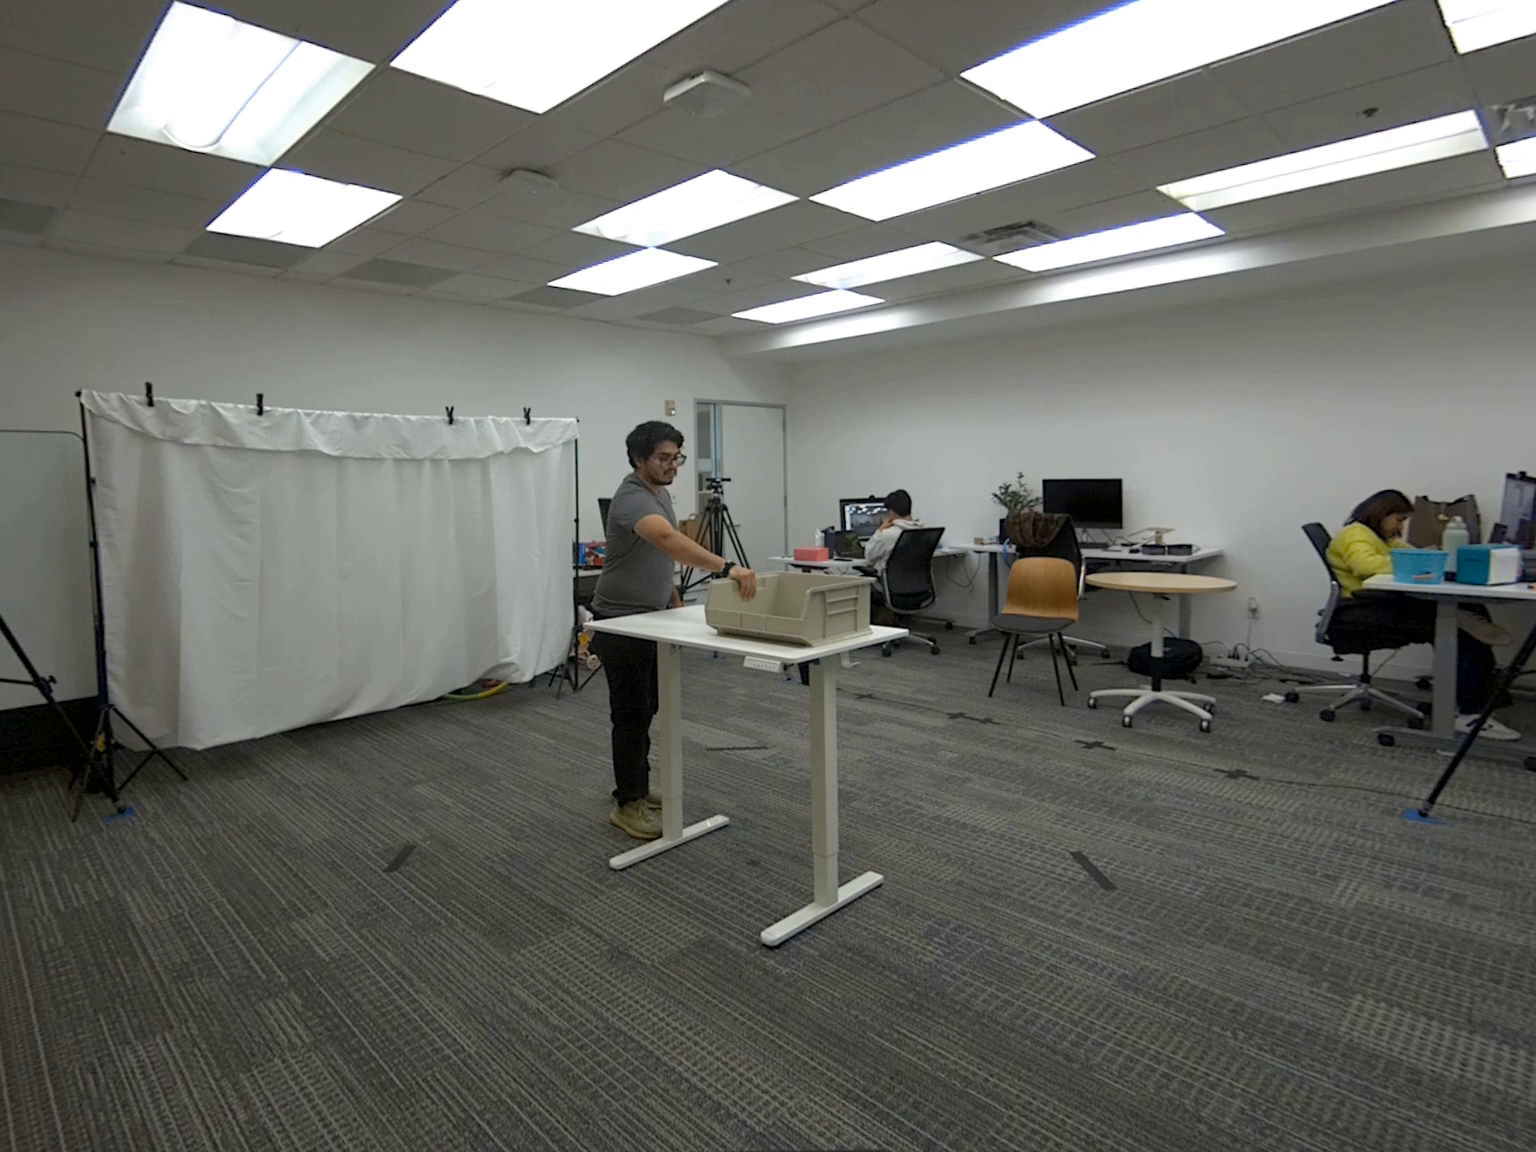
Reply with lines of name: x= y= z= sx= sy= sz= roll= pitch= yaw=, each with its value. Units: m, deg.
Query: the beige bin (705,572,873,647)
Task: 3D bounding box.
beige bin: x=0.071 y=0.104 z=2.785 sx=0.435 sy=0.188 sz=0.367 roll=4 pitch=6 yaw=44
